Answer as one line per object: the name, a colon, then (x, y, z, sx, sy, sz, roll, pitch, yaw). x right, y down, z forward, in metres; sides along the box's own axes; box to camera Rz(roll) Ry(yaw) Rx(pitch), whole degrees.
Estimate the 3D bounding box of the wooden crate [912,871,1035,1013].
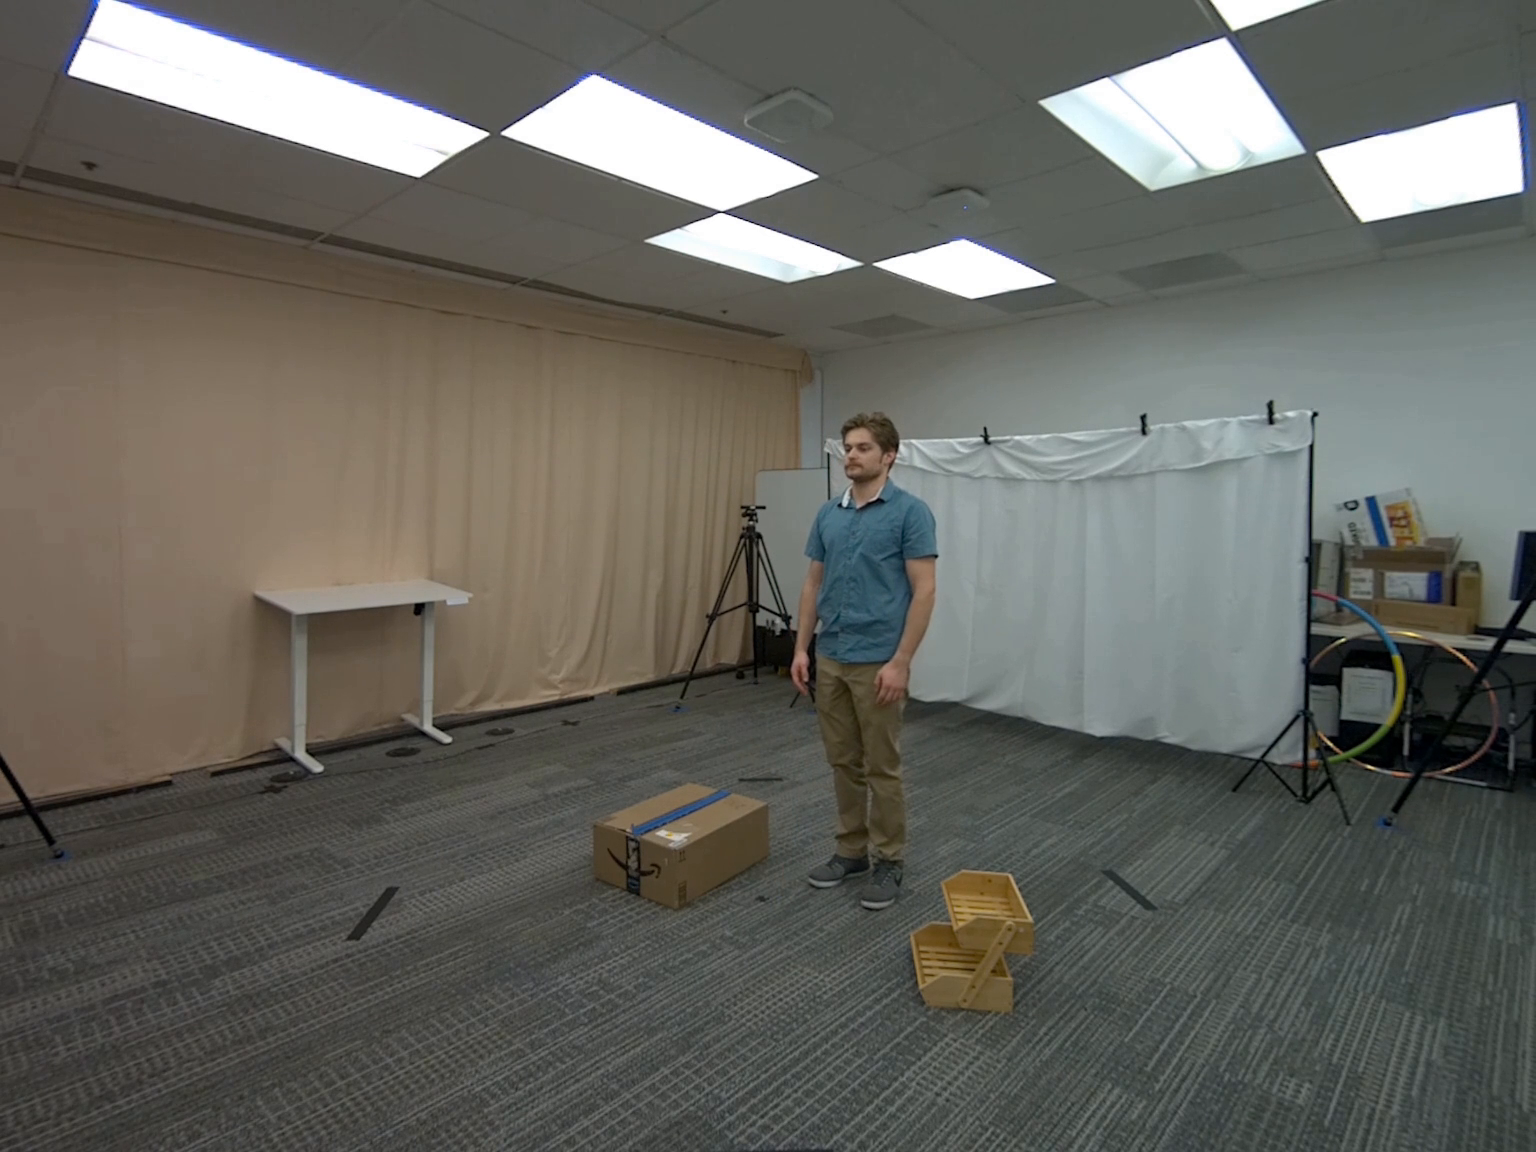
wooden crate: (0.587, 1.050, 2.463, 0.304, 0.273, 0.323, 1, 4, 5)
